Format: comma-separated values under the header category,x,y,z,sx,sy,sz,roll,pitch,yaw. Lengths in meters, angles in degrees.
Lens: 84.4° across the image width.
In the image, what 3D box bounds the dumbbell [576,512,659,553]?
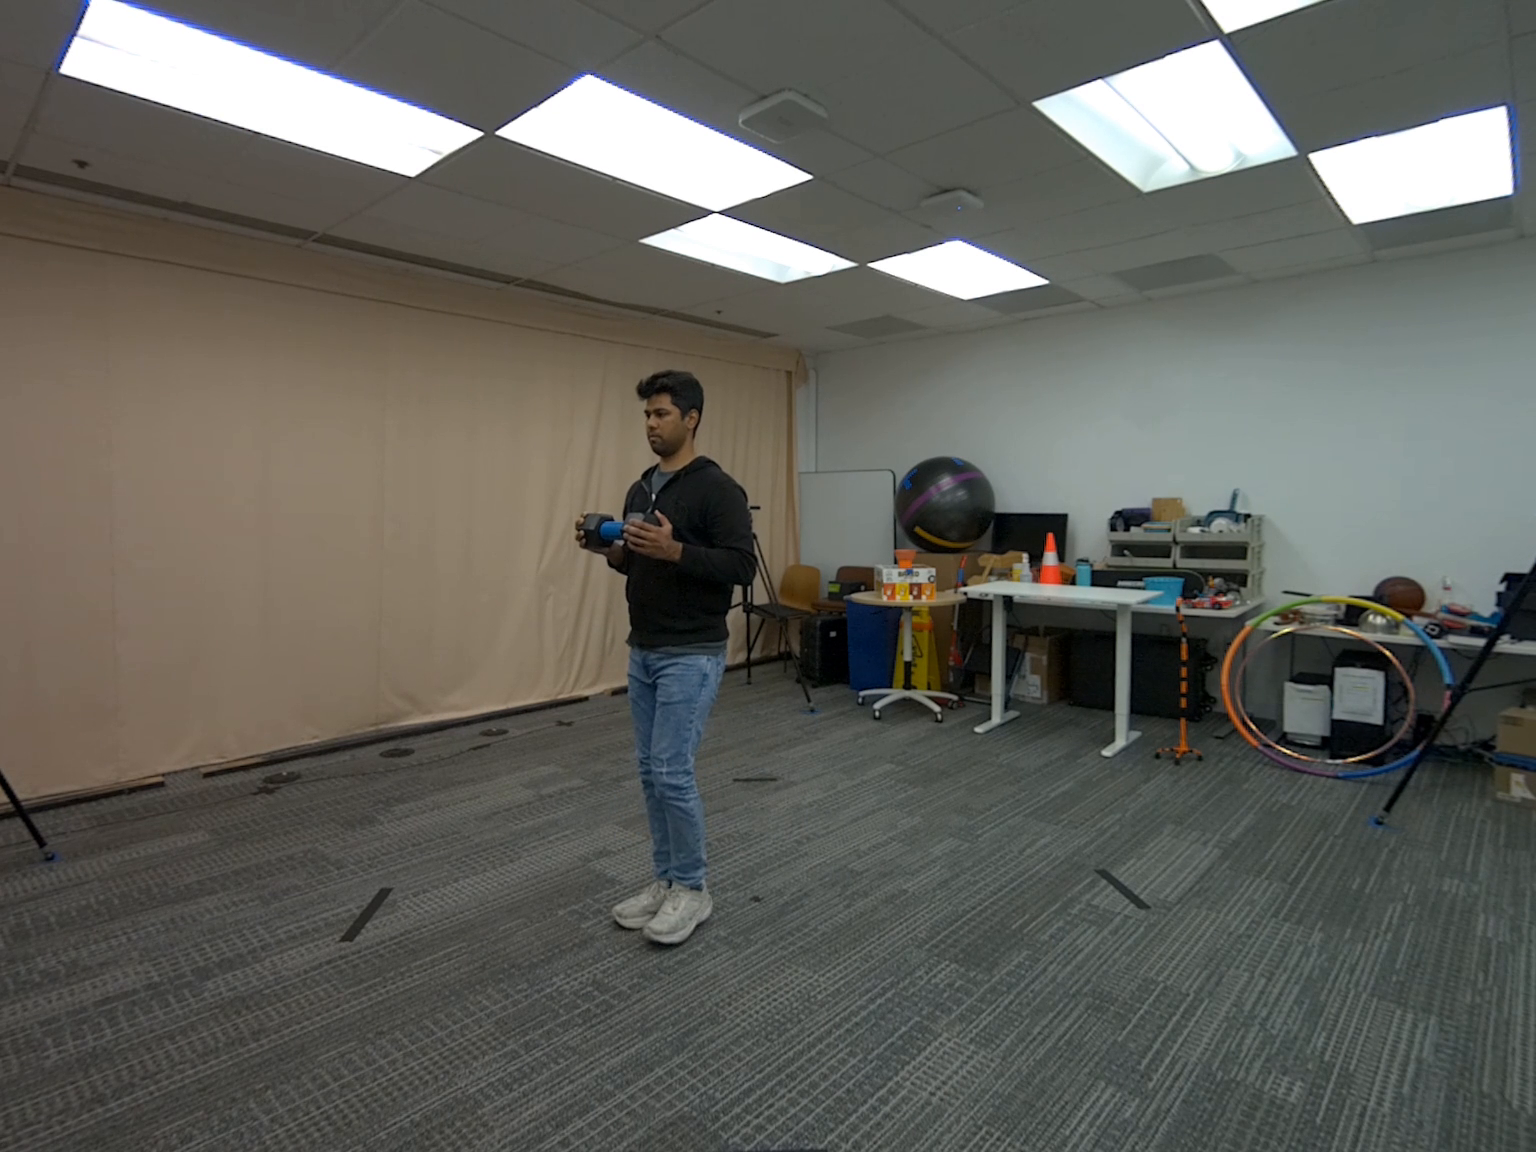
category,x,y,z,sx,sy,sz,roll,pitch,yaw
dumbbell,-0.455,-0.139,2.654,0.303,0.121,0.107,3,29,44
